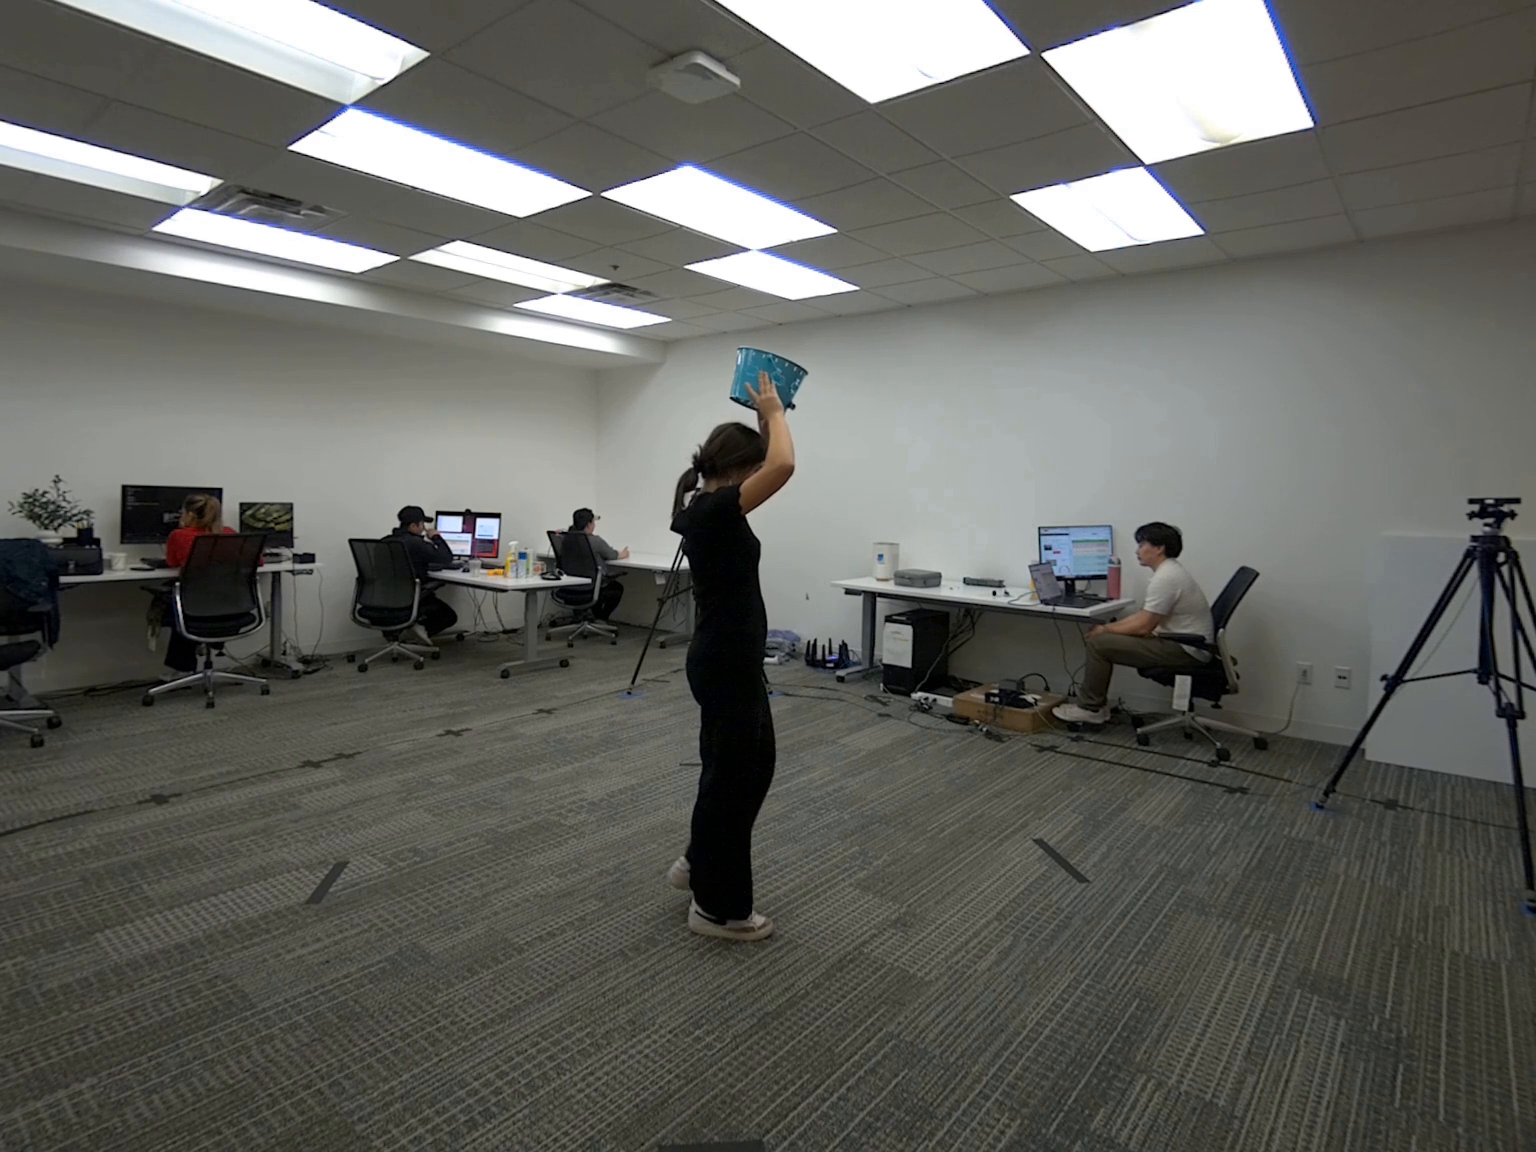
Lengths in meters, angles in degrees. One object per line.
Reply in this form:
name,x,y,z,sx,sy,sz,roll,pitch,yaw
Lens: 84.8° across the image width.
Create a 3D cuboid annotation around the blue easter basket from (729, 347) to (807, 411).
blue easter basket,-0.011,-0.597,2.641,0.243,0.156,0.245,22,3,-3
